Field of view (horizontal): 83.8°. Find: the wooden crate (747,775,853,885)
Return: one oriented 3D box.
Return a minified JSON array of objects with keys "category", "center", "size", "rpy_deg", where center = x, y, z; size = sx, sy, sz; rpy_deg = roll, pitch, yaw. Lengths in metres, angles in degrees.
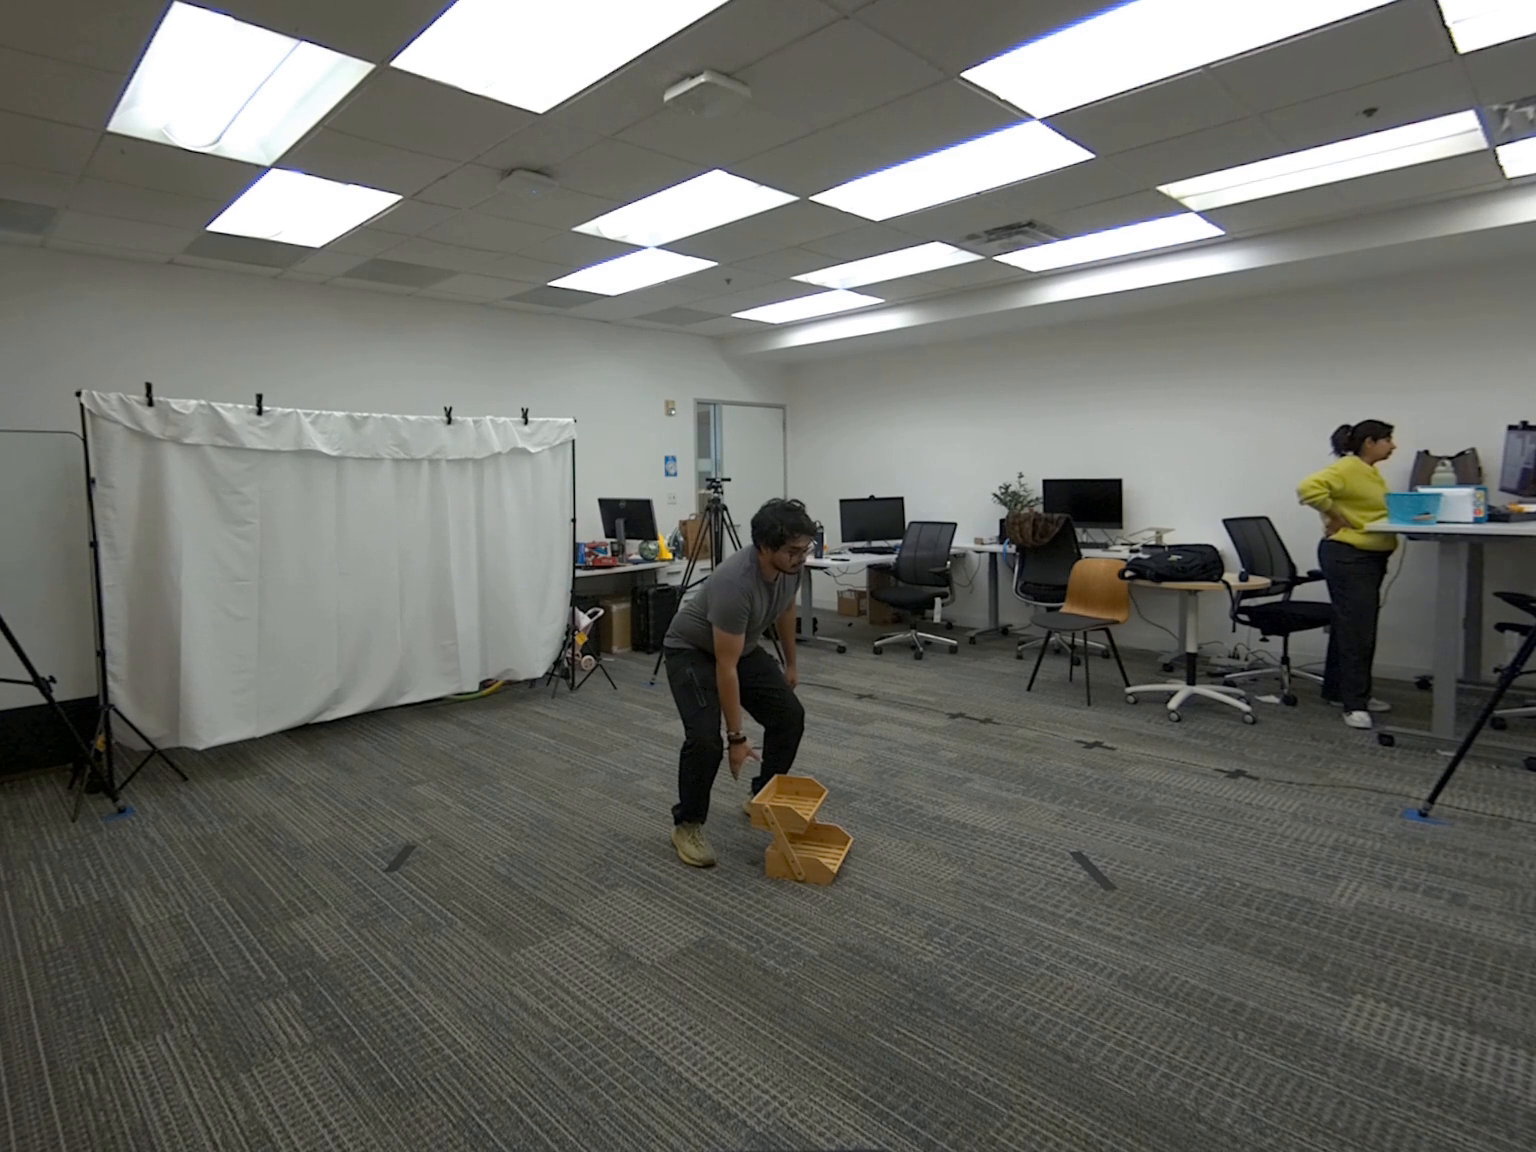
[{"category":"wooden crate","center":[0.134,0.903,3.102],"size":[0.307,0.272,0.320],"rpy_deg":[0,5,18]}]
